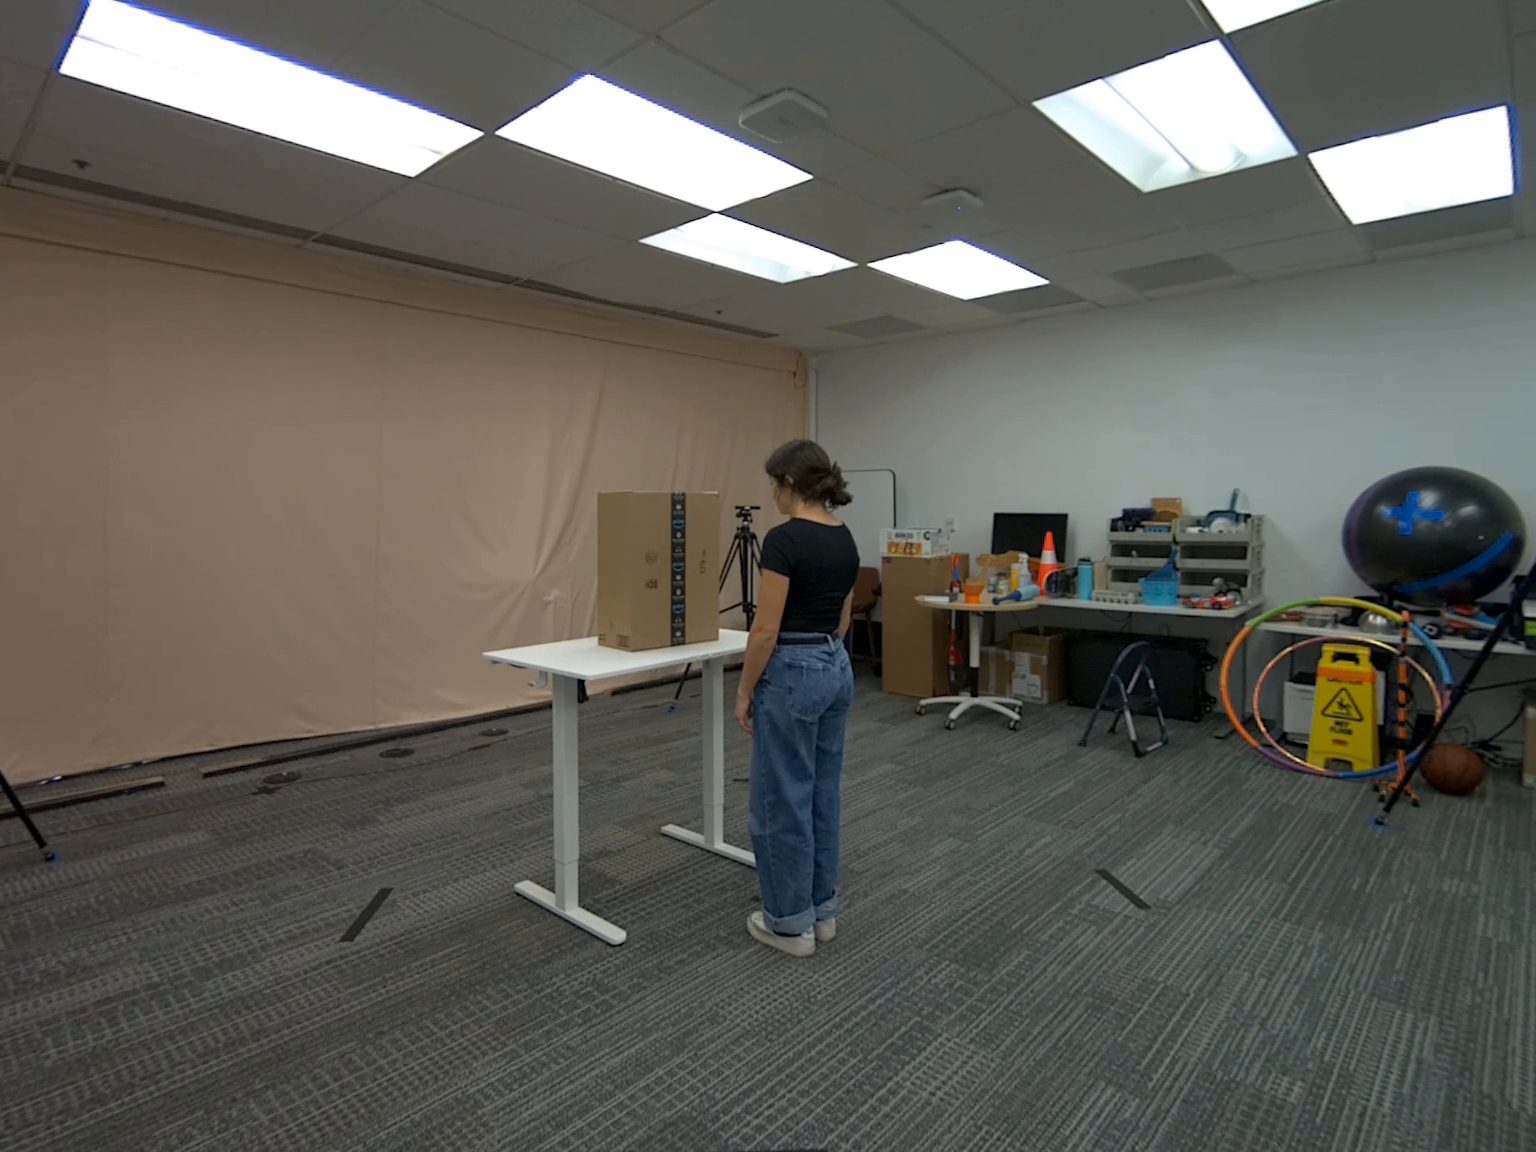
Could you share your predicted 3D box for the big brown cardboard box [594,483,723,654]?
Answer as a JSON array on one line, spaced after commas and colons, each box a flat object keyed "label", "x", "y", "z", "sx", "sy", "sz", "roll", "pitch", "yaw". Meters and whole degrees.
[{"label": "big brown cardboard box", "x": -0.407, "y": -0.039, "z": 3.152, "sx": 0.404, "sy": 0.588, "sz": 0.241, "roll": -1, "pitch": 2, "yaw": -42}]
